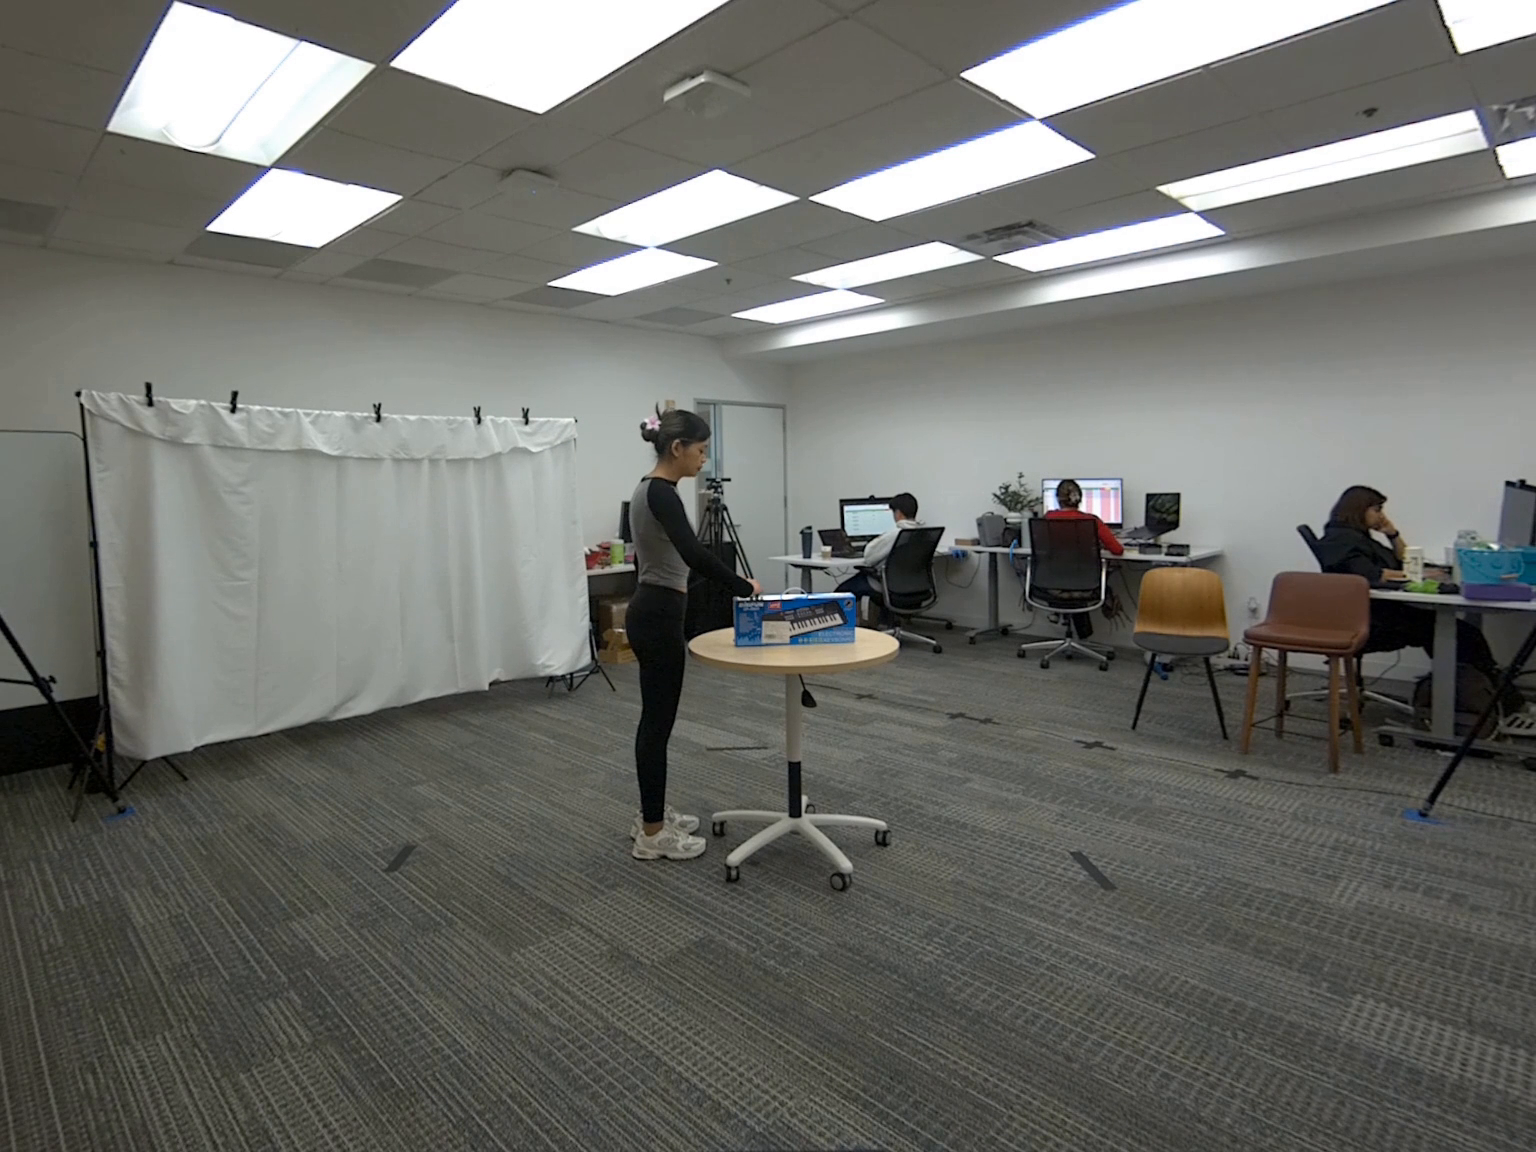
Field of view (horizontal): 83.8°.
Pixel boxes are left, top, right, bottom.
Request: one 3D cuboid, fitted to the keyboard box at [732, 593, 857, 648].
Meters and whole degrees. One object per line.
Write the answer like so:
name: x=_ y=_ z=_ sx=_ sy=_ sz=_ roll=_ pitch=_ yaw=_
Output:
keyboard box: x=0.095 y=0.161 z=3.096 sx=0.435 sy=0.175 sz=0.060 roll=-2 pitch=8 yaw=-4
